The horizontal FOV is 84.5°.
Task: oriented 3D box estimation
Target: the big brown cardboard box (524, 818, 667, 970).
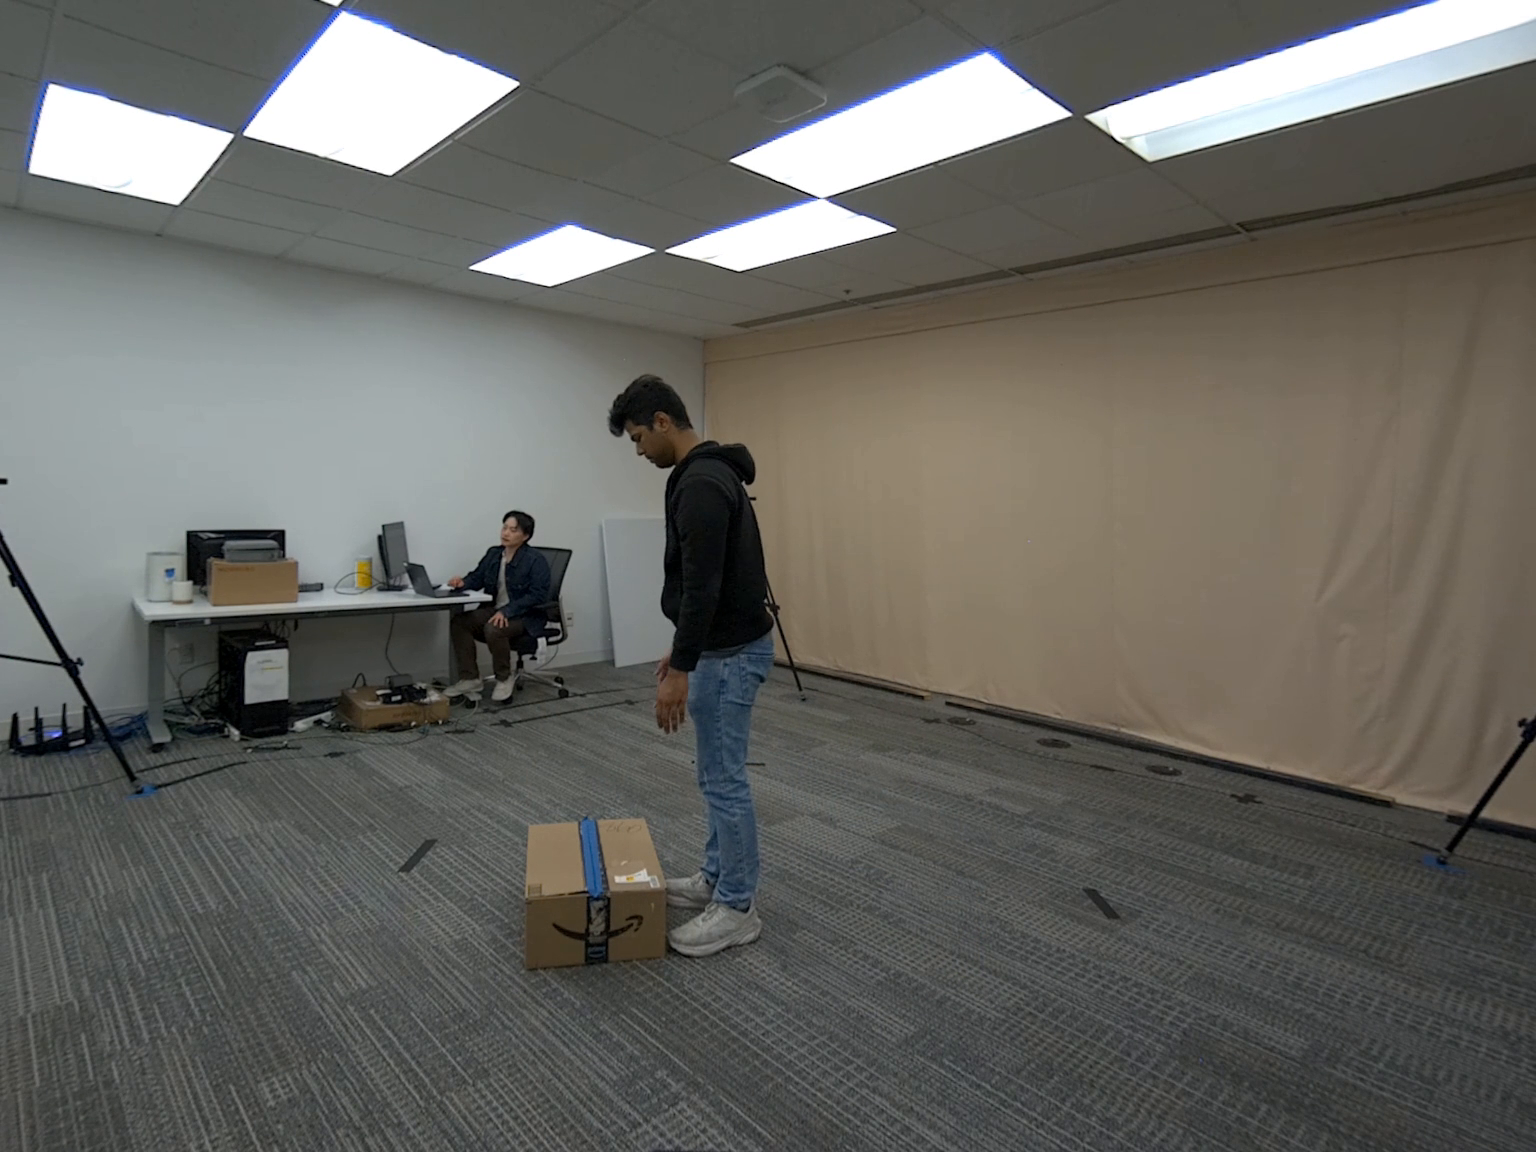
[{"bbox_3d":[-0.586,1.018,2.758,0.413,0.232,0.597,0,4,-15],"label":"big brown cardboard box"}]
